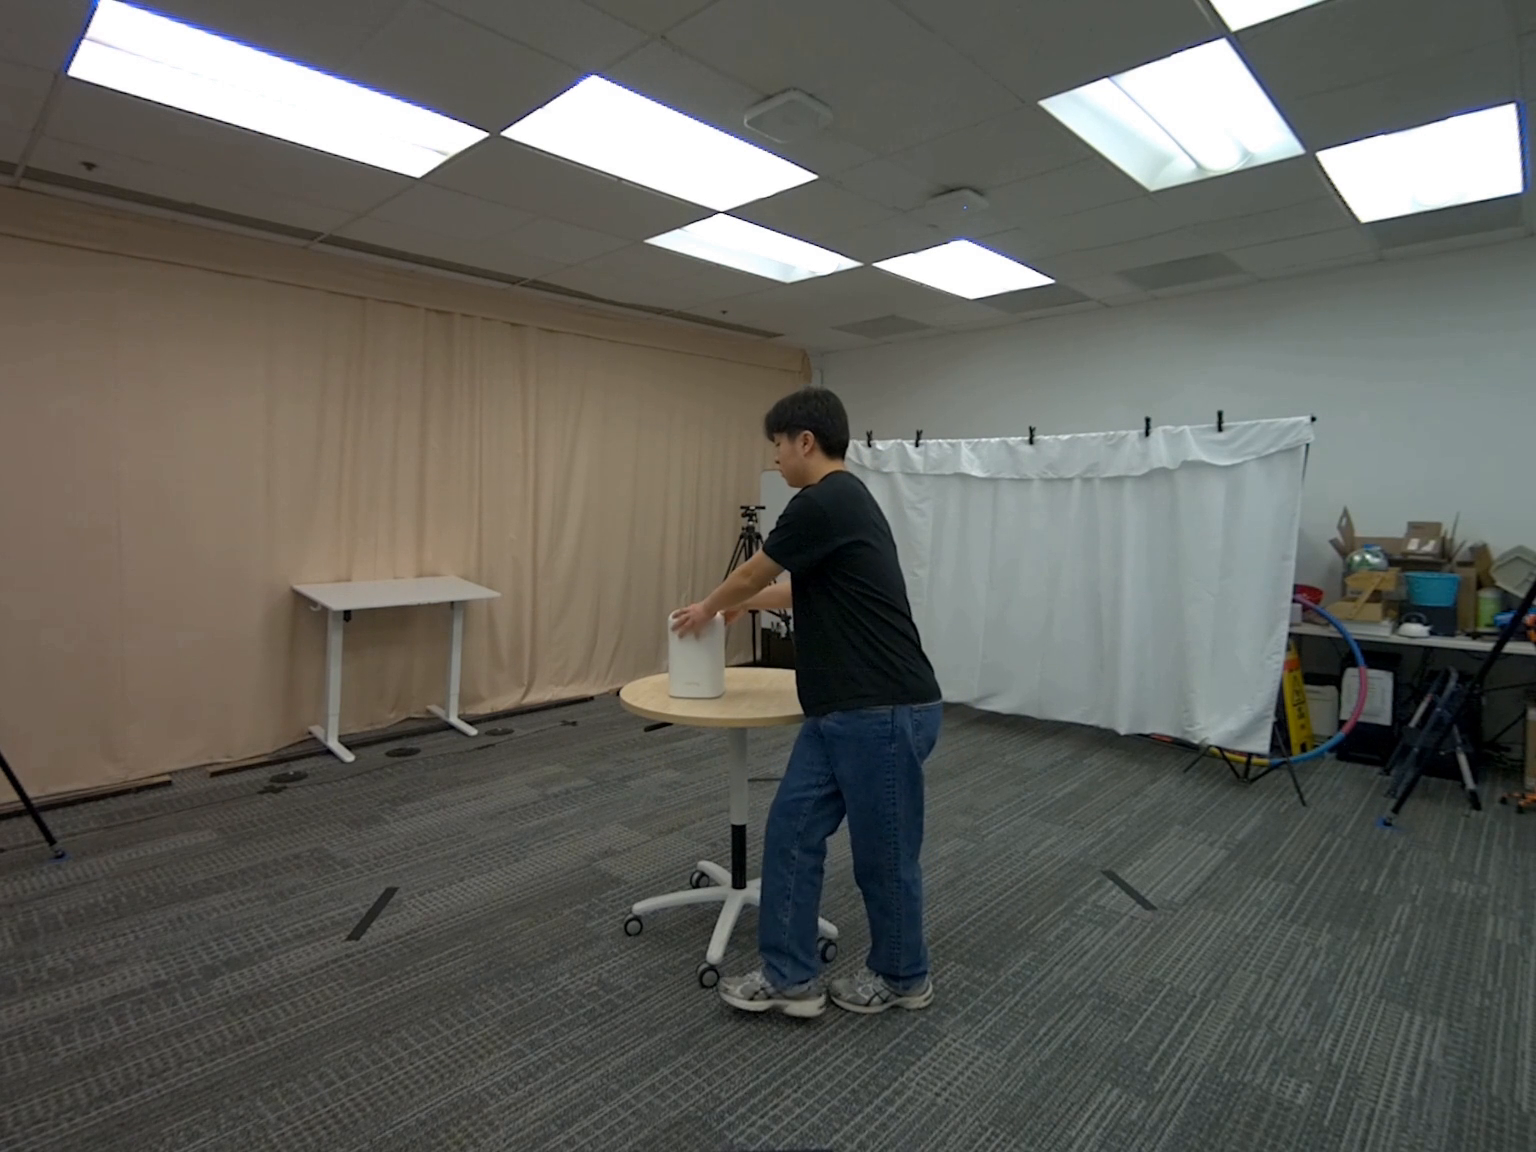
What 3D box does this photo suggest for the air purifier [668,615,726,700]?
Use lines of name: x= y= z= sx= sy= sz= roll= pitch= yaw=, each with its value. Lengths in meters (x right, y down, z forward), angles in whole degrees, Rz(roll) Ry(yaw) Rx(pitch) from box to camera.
air purifier: x=-0.224 y=0.244 z=2.681 sx=0.173 sy=0.265 sz=0.170 roll=1 pitch=3 yaw=8
